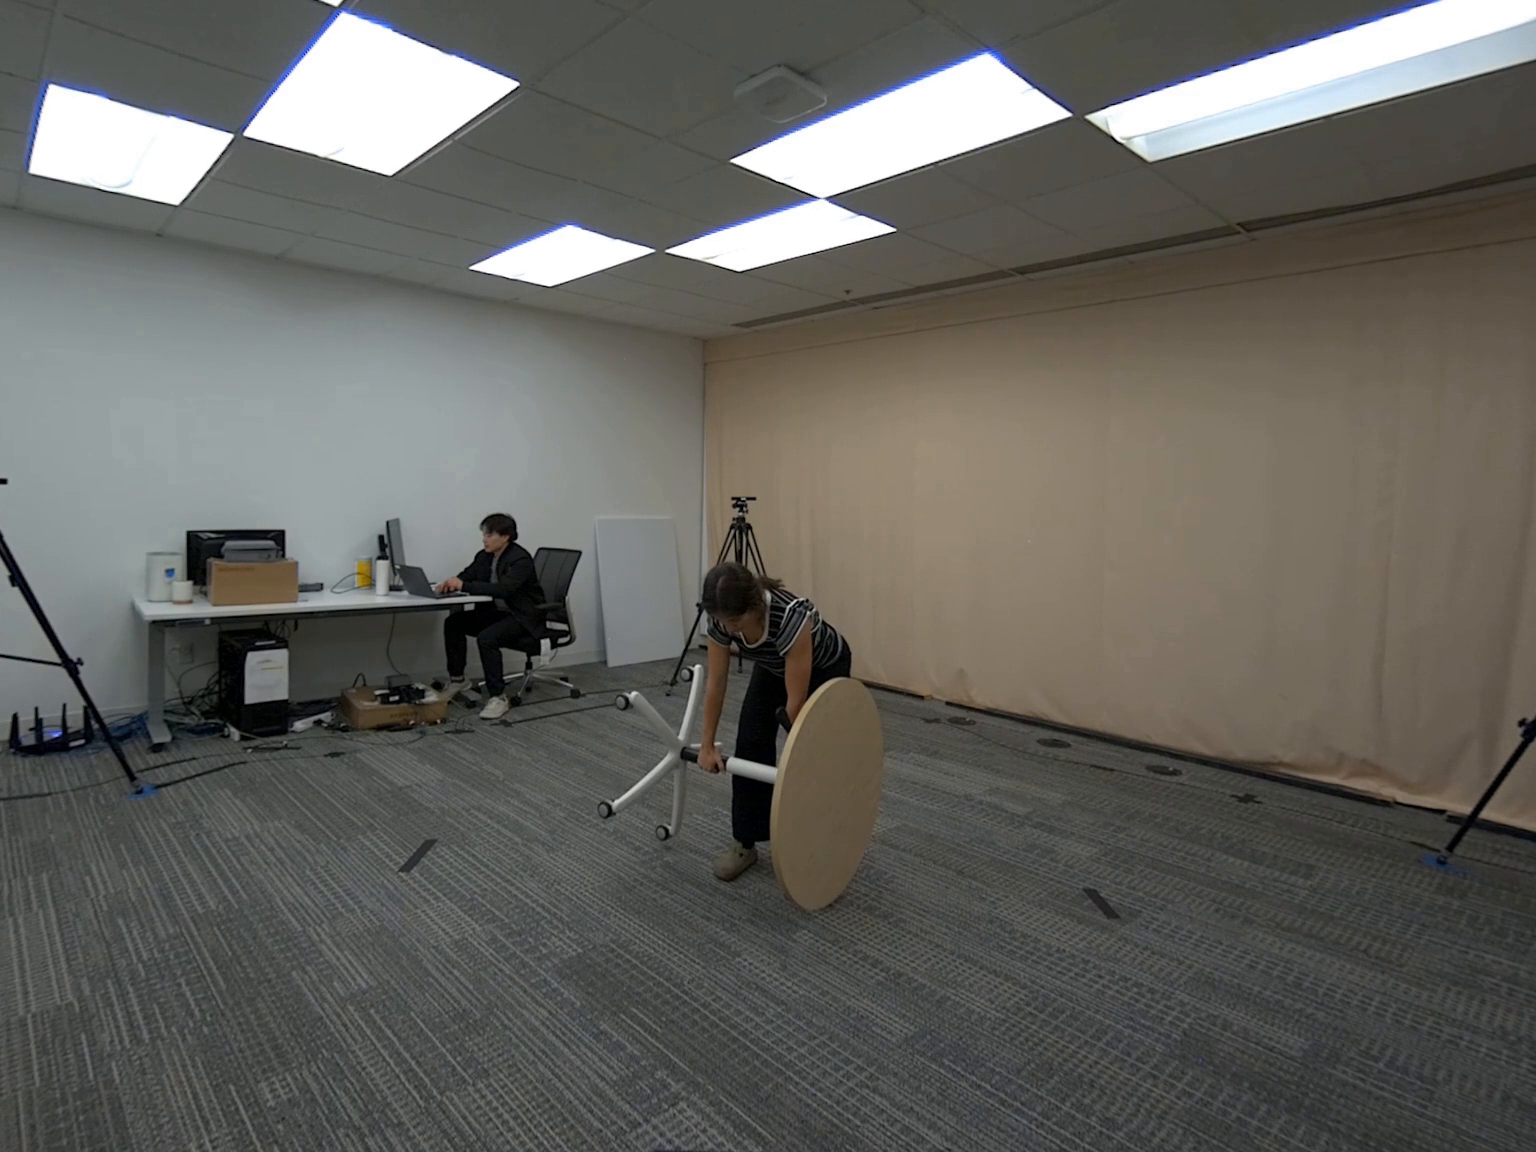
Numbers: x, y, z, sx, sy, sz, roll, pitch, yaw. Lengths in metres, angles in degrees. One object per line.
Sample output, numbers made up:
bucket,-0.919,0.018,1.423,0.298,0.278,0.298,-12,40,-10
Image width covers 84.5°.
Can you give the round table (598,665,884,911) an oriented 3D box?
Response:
round table,-0.113,0.712,3.083,0.812,0.762,0.748,4,5,34
